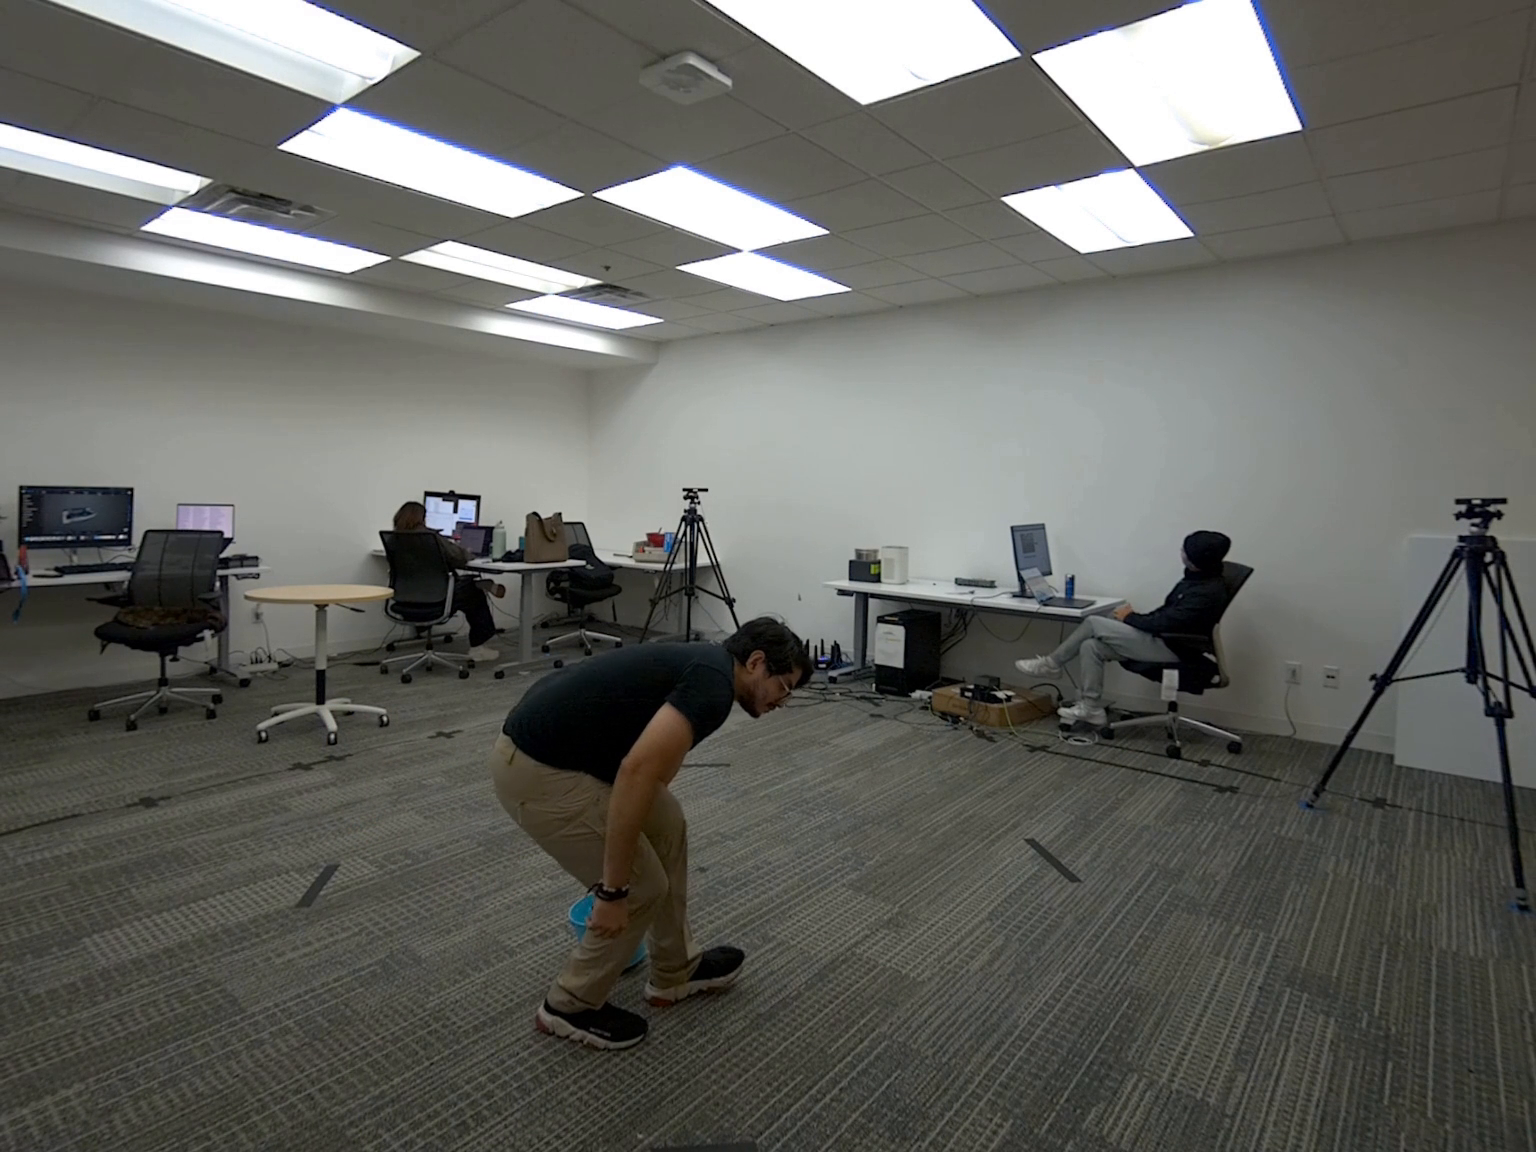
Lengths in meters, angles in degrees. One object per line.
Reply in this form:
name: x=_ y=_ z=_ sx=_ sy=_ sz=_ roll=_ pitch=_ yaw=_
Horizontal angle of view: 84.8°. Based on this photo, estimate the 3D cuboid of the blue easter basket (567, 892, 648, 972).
blue easter basket: x=-0.462 y=1.031 z=2.499 sx=0.243 sy=0.155 sz=0.245 roll=-9 pitch=5 yaw=-1
